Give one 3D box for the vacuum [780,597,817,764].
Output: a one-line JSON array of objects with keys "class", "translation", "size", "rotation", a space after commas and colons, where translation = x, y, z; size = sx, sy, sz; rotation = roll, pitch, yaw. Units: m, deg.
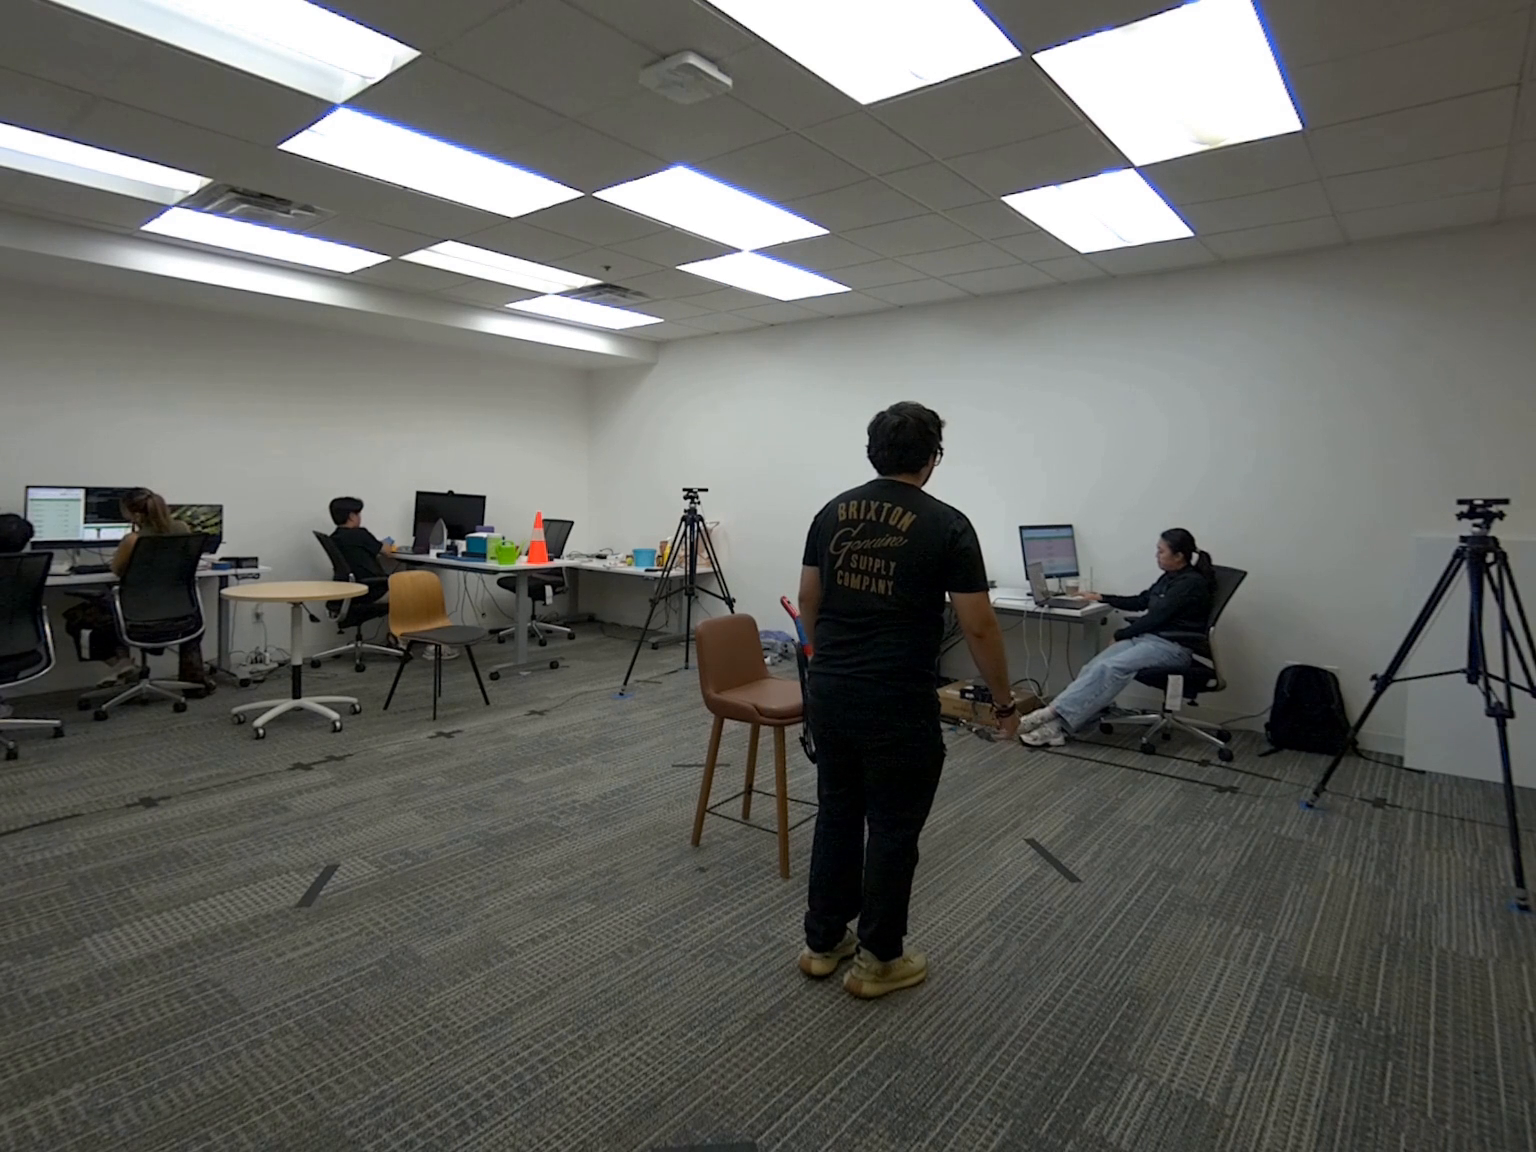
[{"class": "vacuum", "translation": [0.197, 0.589, 3.094], "size": [0.146, 1.064, 0.245], "rotation": [-26, -15, 41]}]
